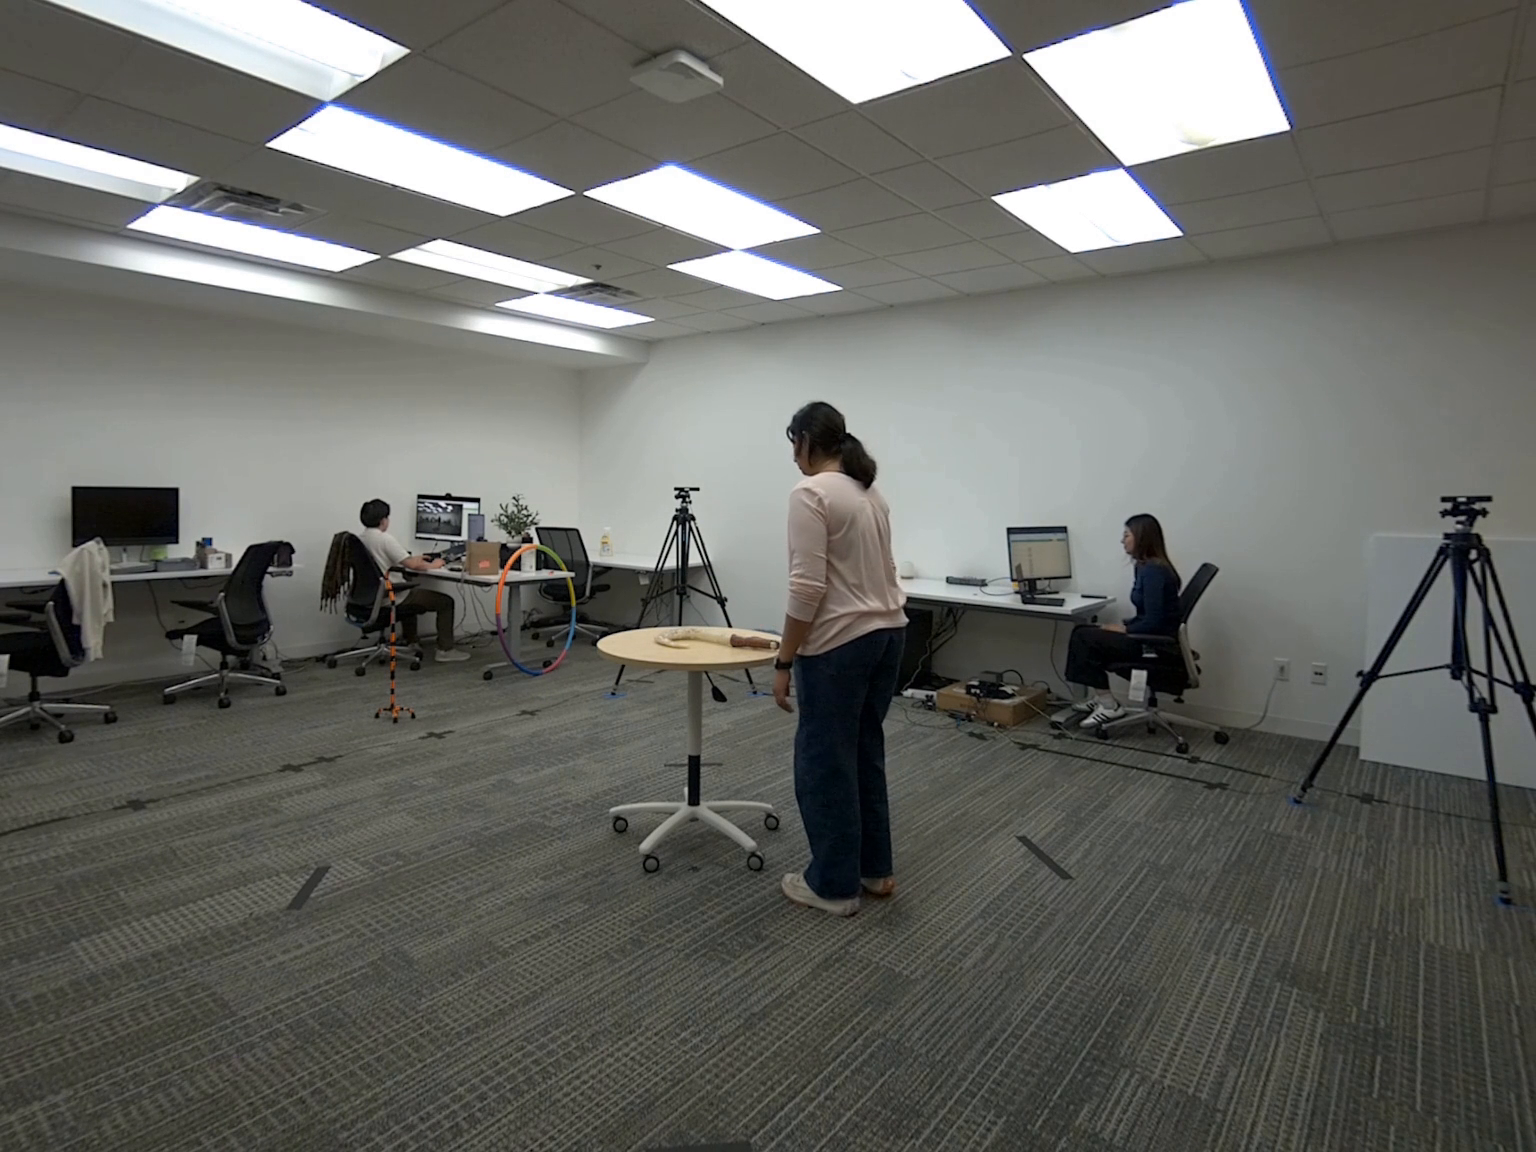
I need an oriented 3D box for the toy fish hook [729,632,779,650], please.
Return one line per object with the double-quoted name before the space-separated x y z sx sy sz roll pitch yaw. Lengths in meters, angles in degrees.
"toy fish hook" -0.211 0.252 3.269 0.521 0.048 0.221 3 14 29
